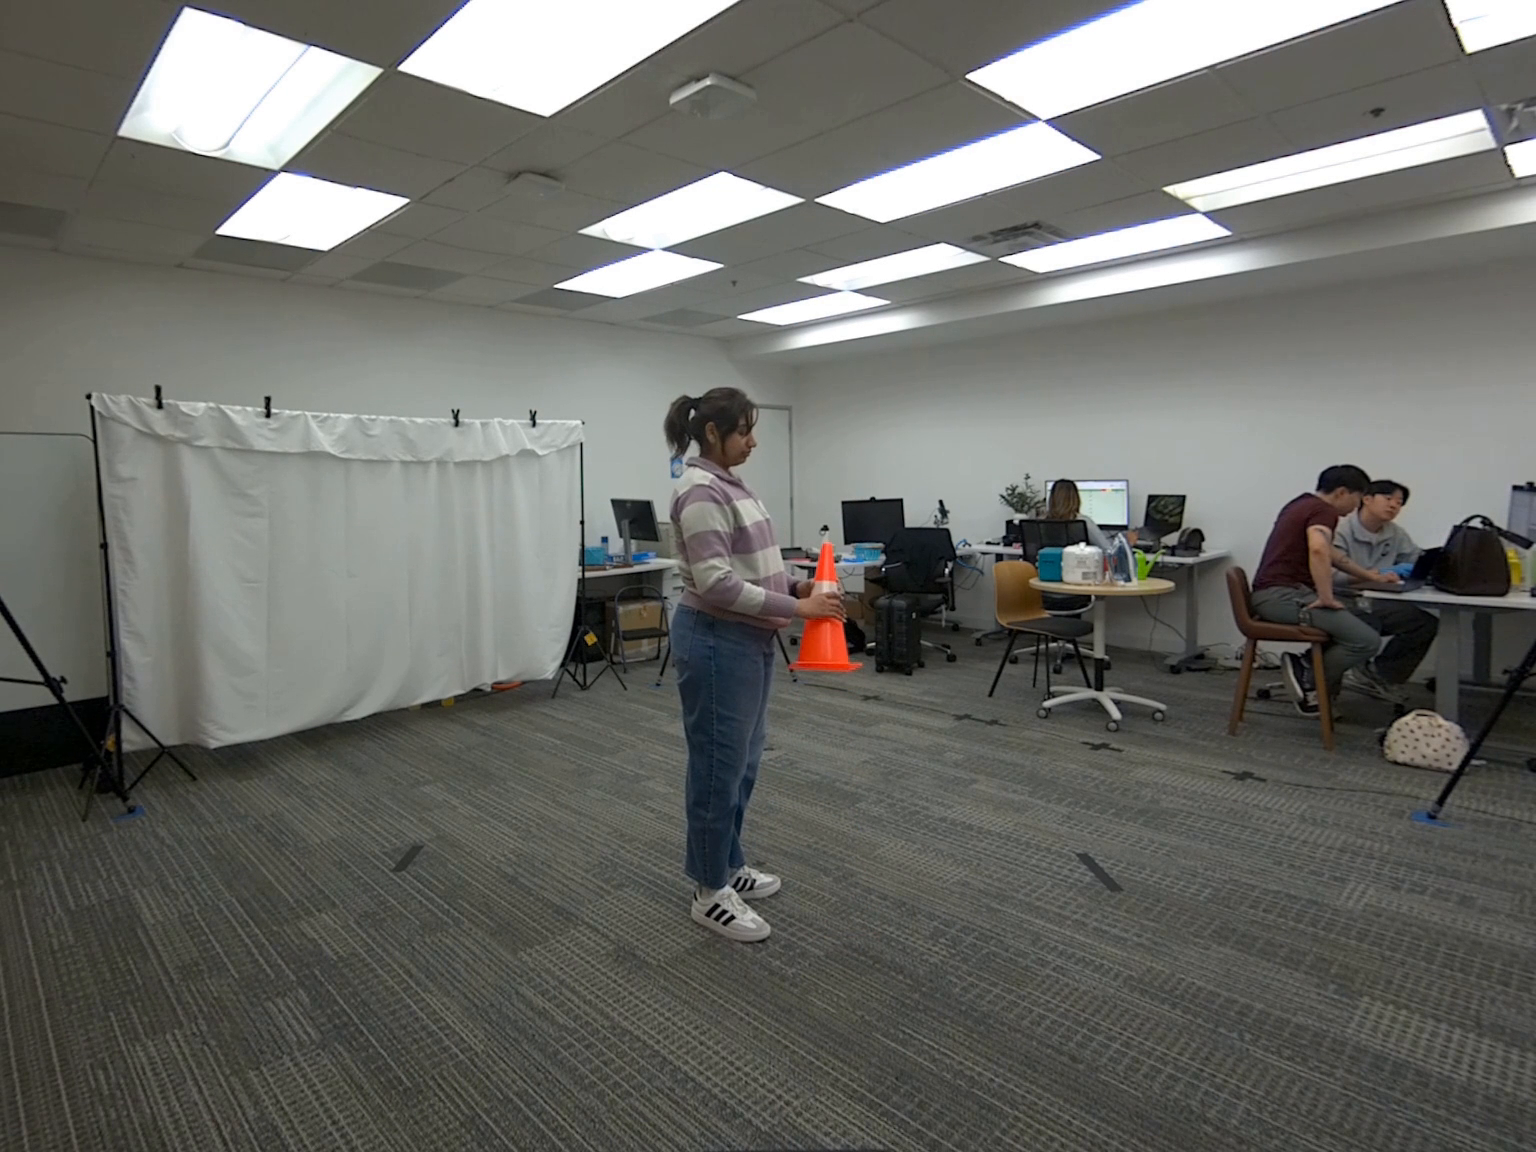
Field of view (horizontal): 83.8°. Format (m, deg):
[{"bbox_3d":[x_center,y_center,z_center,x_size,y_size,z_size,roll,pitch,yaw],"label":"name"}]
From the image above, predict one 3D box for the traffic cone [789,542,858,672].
[{"bbox_3d":[0.175,0.086,2.599,0.203,0.388,0.203,6,-15,-2],"label":"traffic cone"}]
